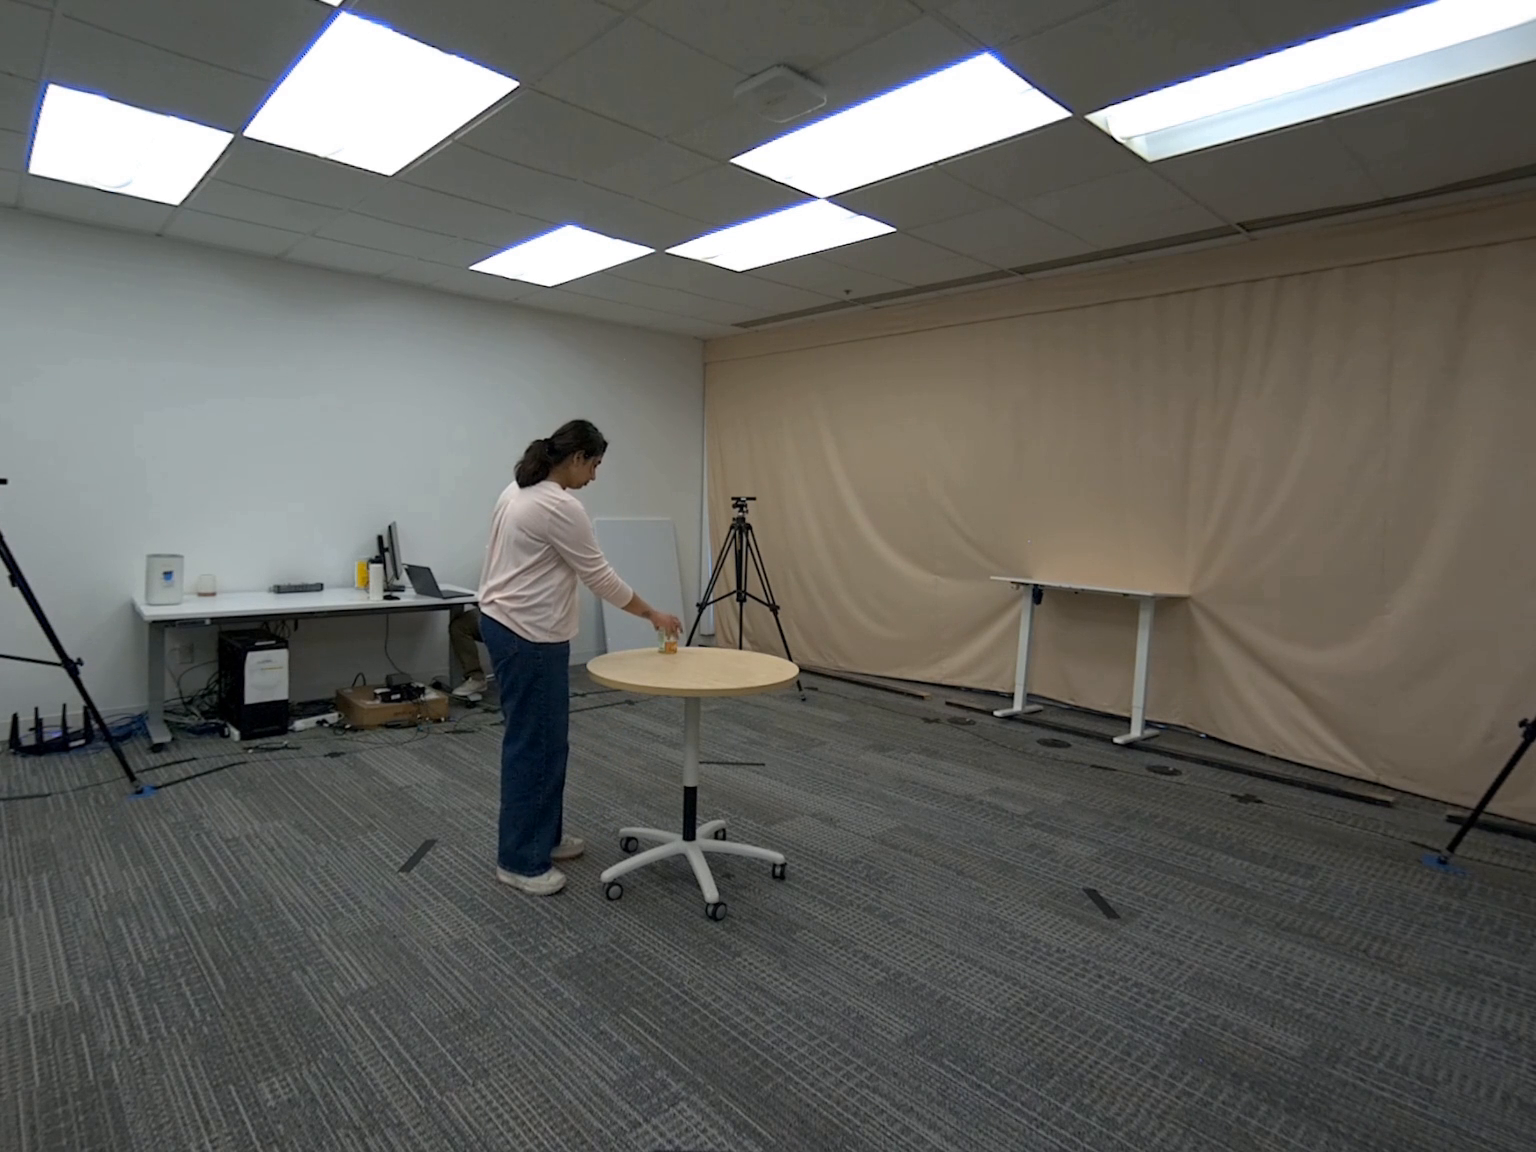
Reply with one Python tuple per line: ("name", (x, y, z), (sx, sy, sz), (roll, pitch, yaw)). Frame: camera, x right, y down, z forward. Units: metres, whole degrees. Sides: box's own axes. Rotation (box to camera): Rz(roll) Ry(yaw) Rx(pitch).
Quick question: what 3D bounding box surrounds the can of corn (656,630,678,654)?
("can of corn", (-0.412, 0.242, 3.294), (0.074, 0.111, 0.074), (4, 3, -2))
